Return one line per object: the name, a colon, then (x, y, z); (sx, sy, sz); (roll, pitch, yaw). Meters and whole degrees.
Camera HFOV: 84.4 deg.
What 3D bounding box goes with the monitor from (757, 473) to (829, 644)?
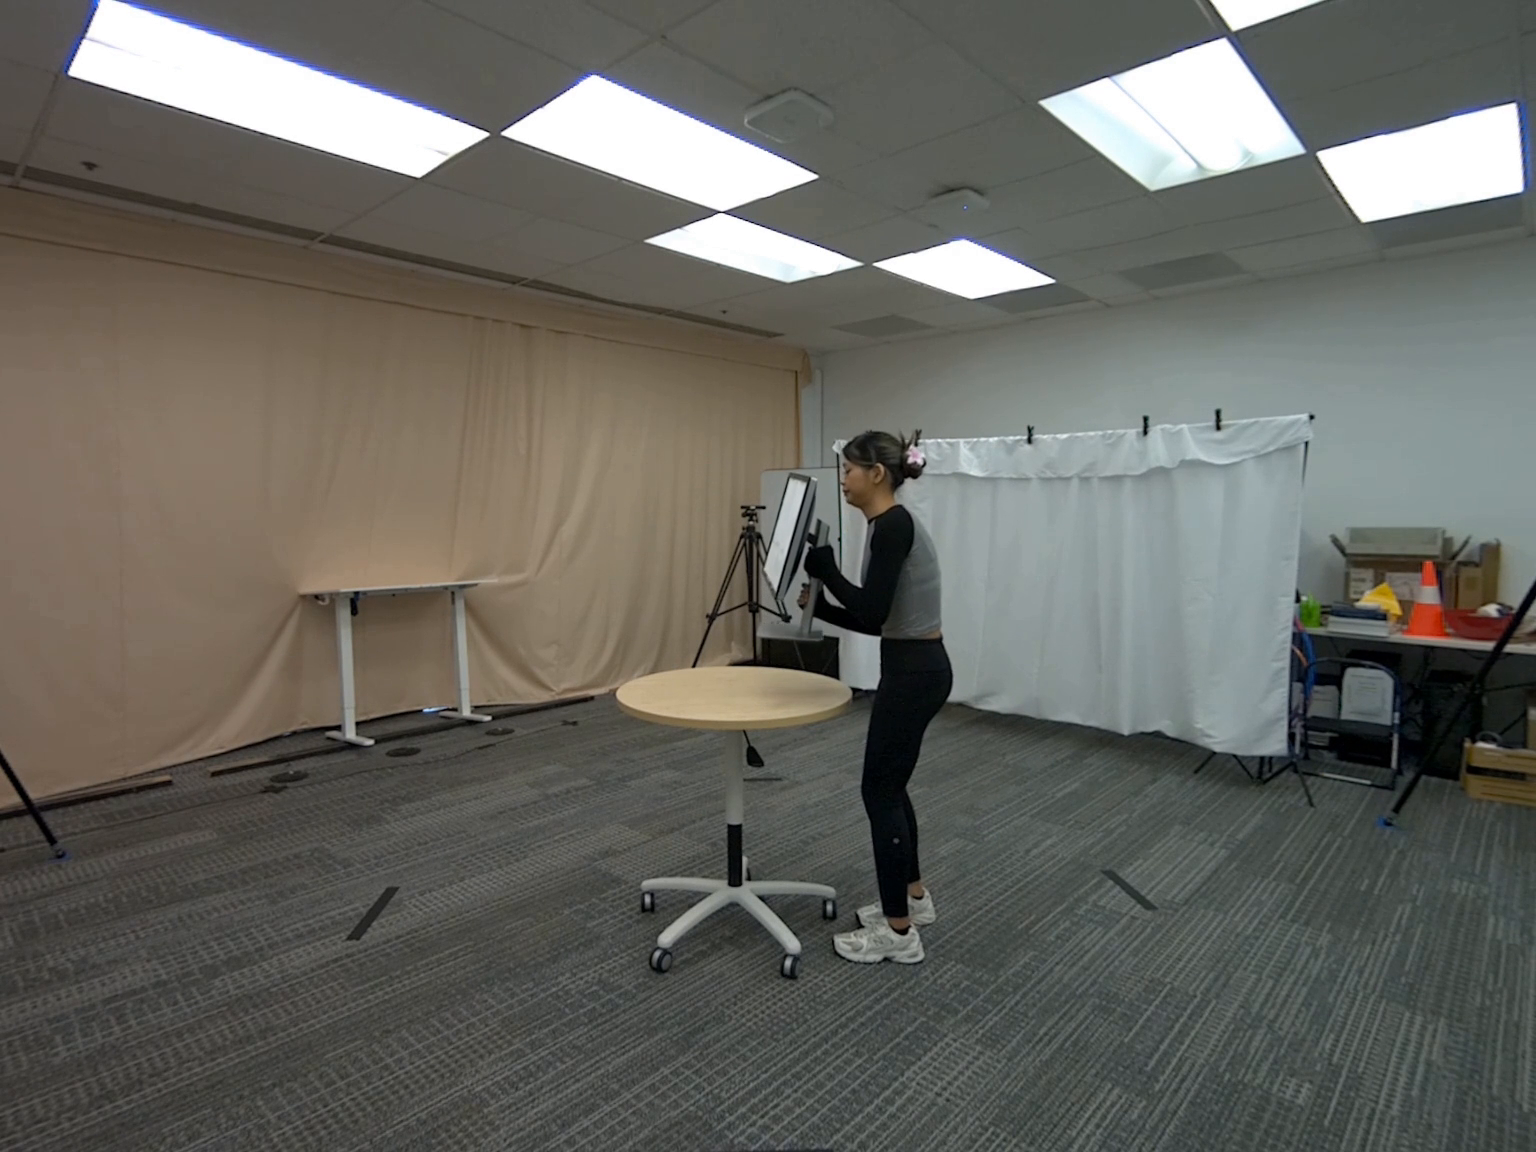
monitor: (0.093, -0.053, 2.665); (0.186, 0.520, 0.544); (3, 7, -6)
